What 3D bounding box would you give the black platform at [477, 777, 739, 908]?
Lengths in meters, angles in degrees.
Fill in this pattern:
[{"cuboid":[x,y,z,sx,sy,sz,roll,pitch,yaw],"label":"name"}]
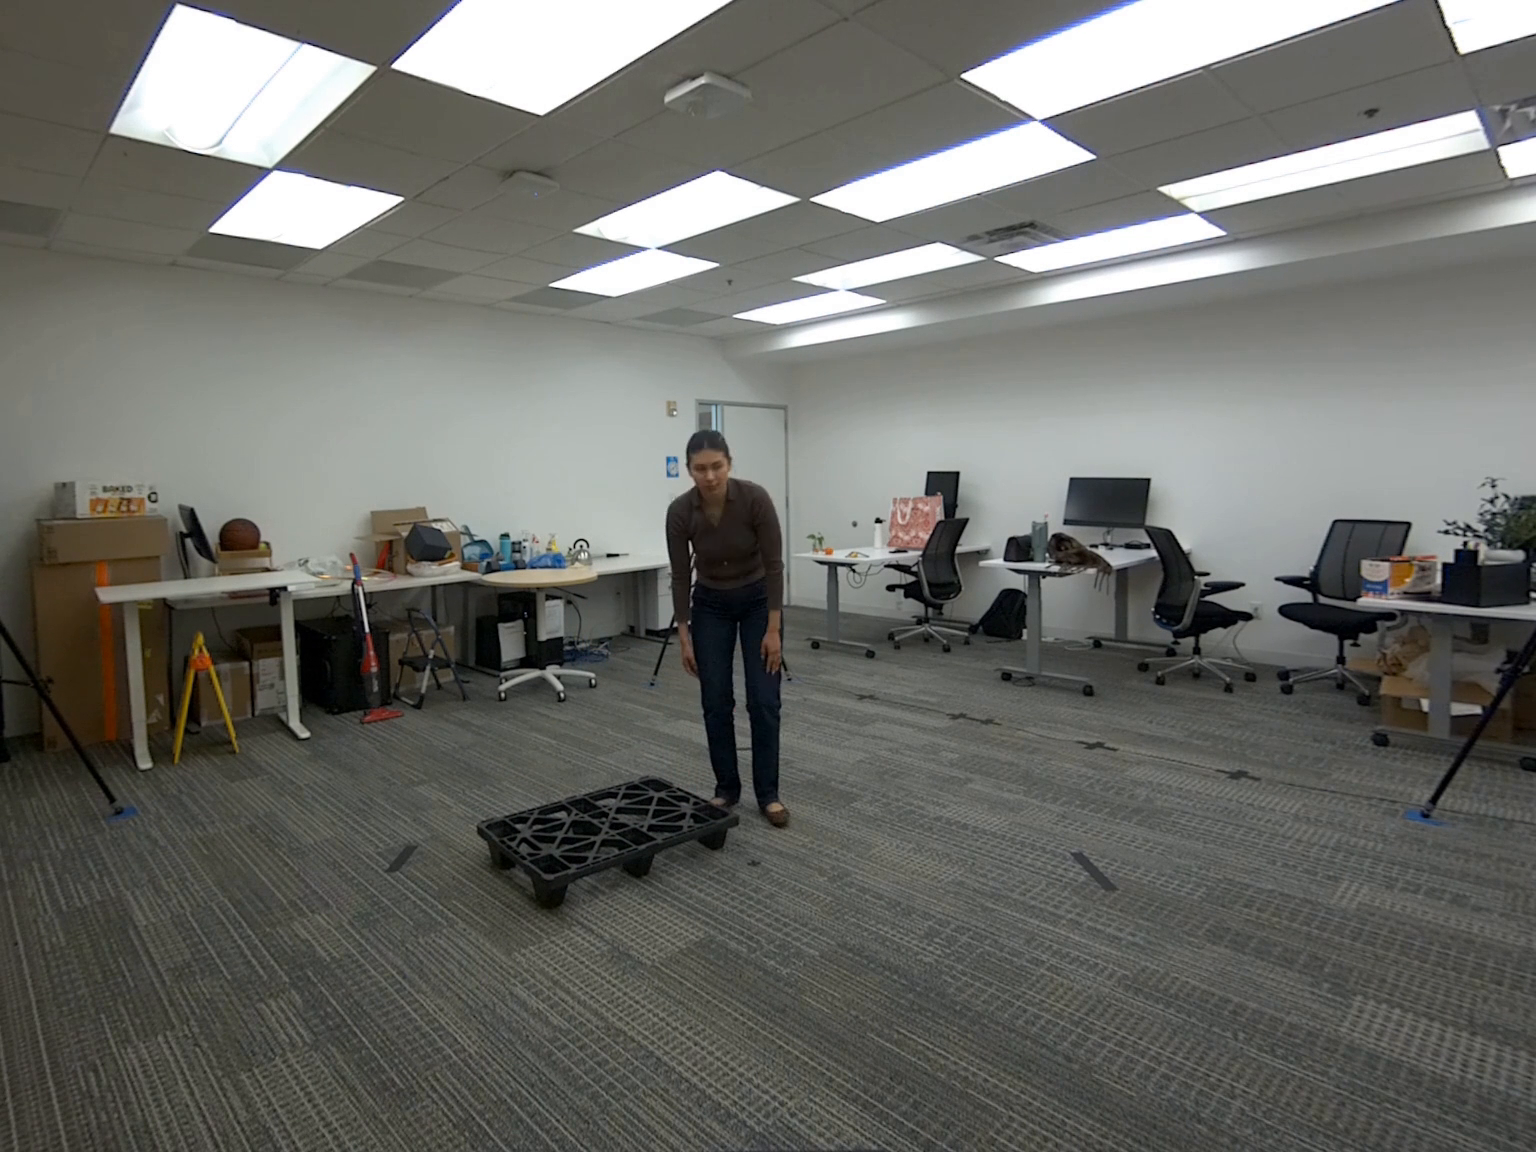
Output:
[{"cuboid":[-0.586,0.978,3.200,0.785,0.142,0.624,-7,9,-39],"label":"black platform"}]
